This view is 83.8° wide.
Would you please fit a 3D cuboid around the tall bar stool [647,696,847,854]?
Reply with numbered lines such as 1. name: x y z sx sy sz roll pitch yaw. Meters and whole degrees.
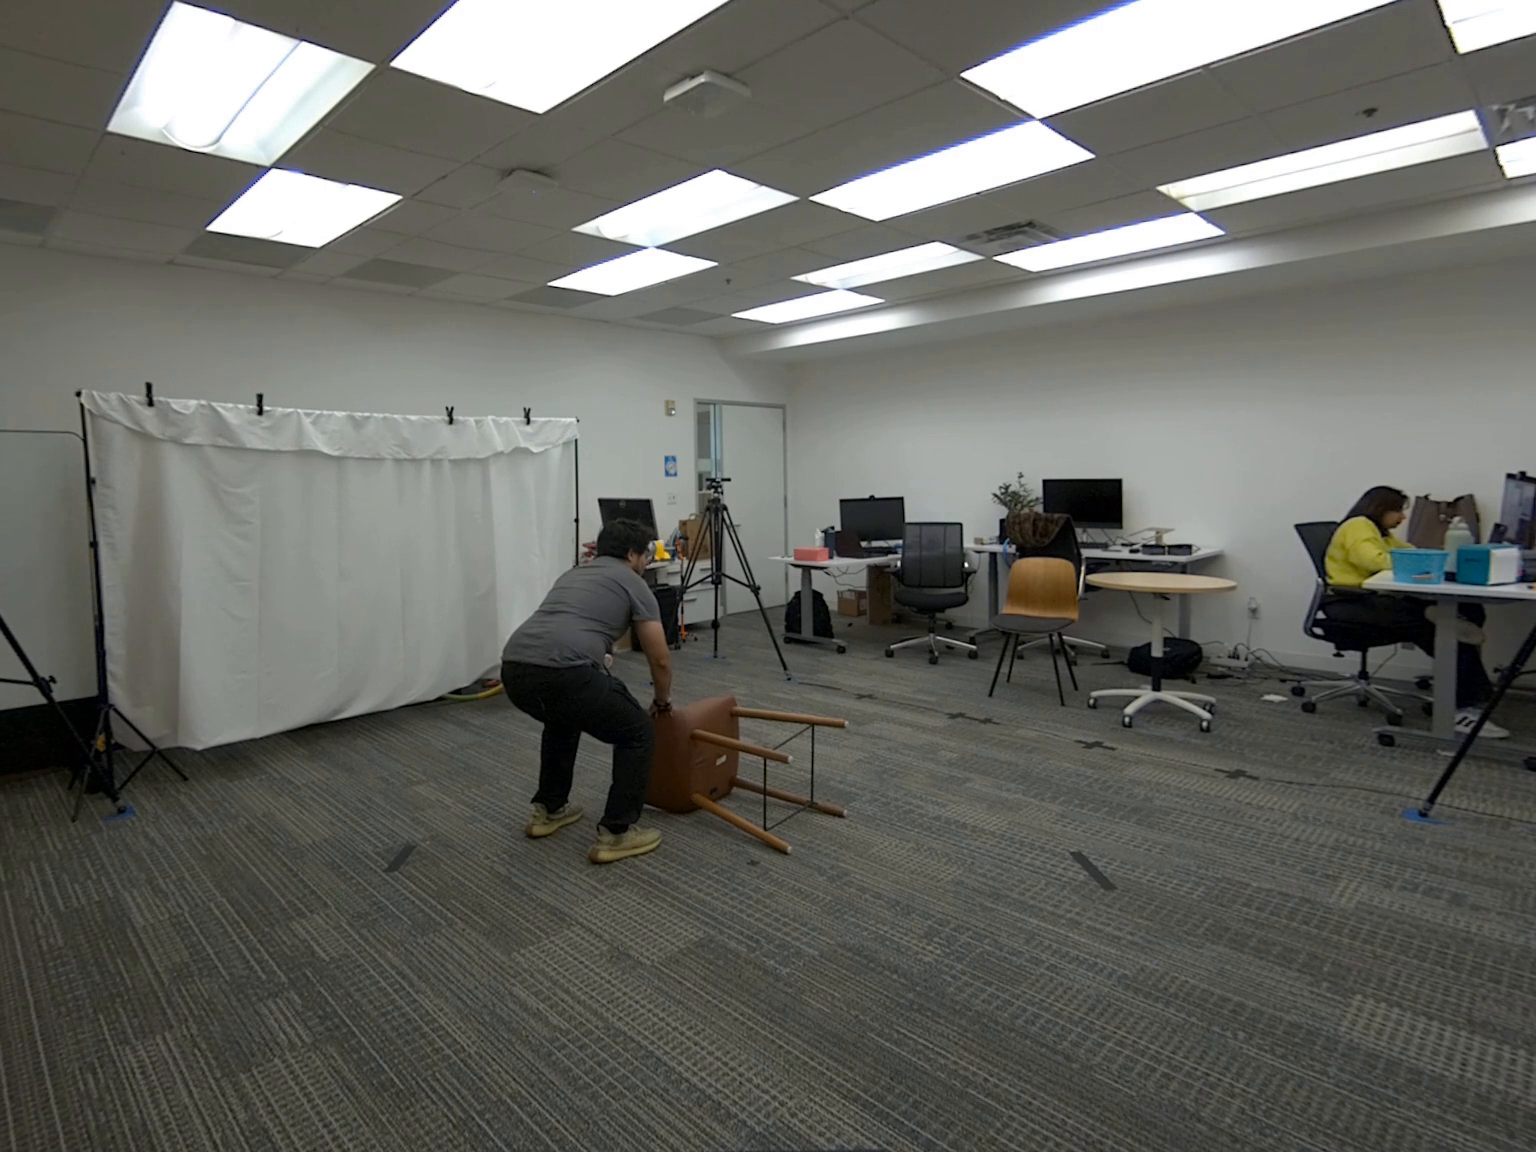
1. tall bar stool: -0.162 0.777 3.572 0.916 0.453 0.457 5 9 34
